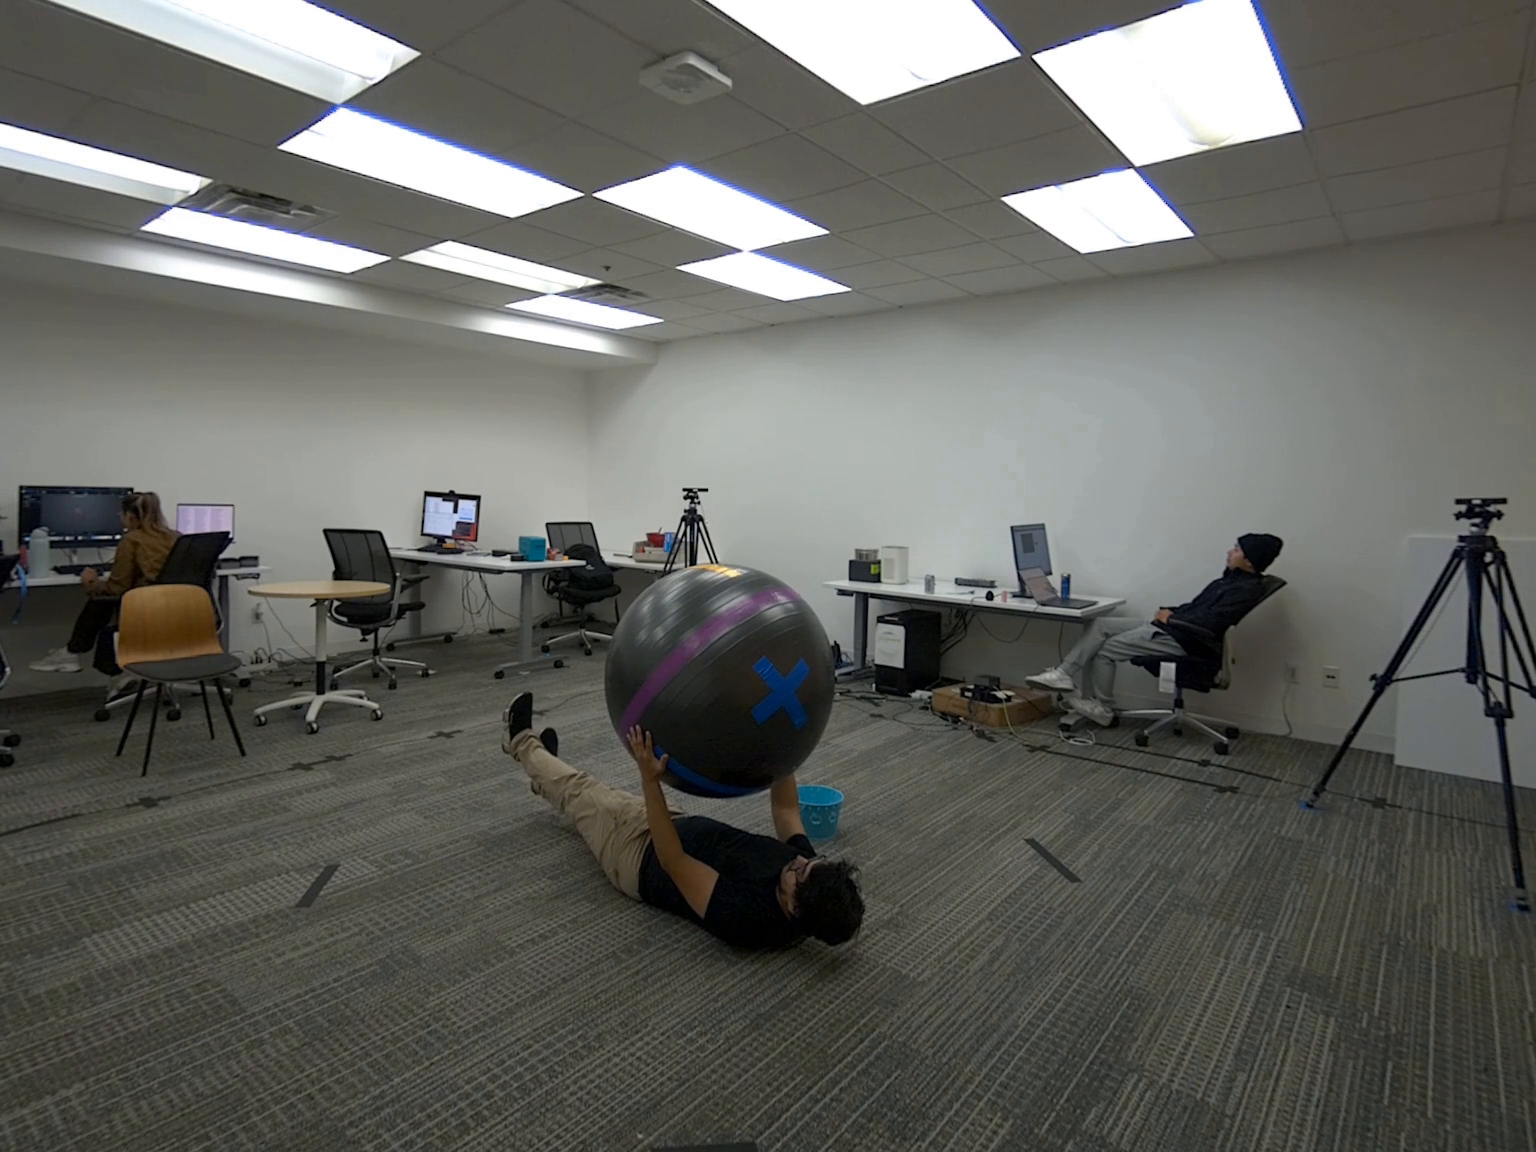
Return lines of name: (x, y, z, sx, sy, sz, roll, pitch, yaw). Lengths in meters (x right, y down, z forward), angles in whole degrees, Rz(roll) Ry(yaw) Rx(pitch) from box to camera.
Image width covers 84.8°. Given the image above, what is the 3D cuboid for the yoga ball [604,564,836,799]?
yoga ball: (-0.171, 0.343, 2.799, 0.757, 0.756, 0.761, 0, 4, -2)
